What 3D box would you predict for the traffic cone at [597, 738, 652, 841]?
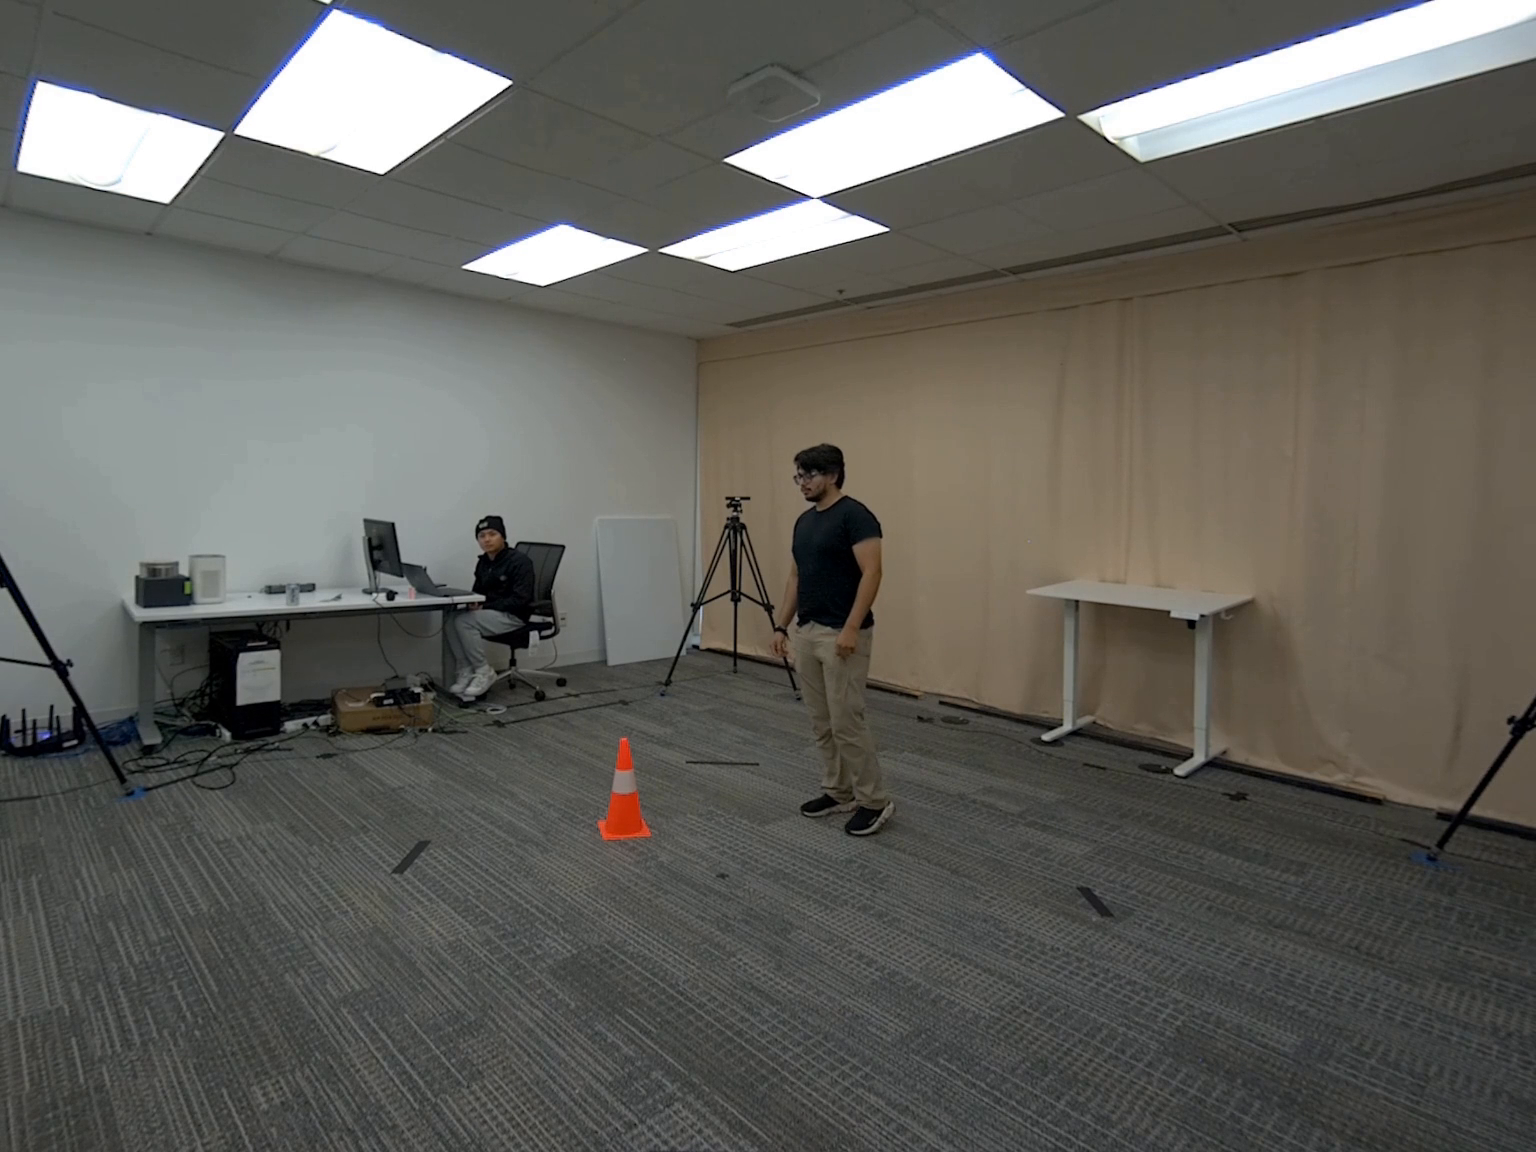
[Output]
[{"bbox_3d":[-0.611,0.874,3.510,0.201,0.382,0.208,-1,5,-16],"label":"traffic cone"}]
